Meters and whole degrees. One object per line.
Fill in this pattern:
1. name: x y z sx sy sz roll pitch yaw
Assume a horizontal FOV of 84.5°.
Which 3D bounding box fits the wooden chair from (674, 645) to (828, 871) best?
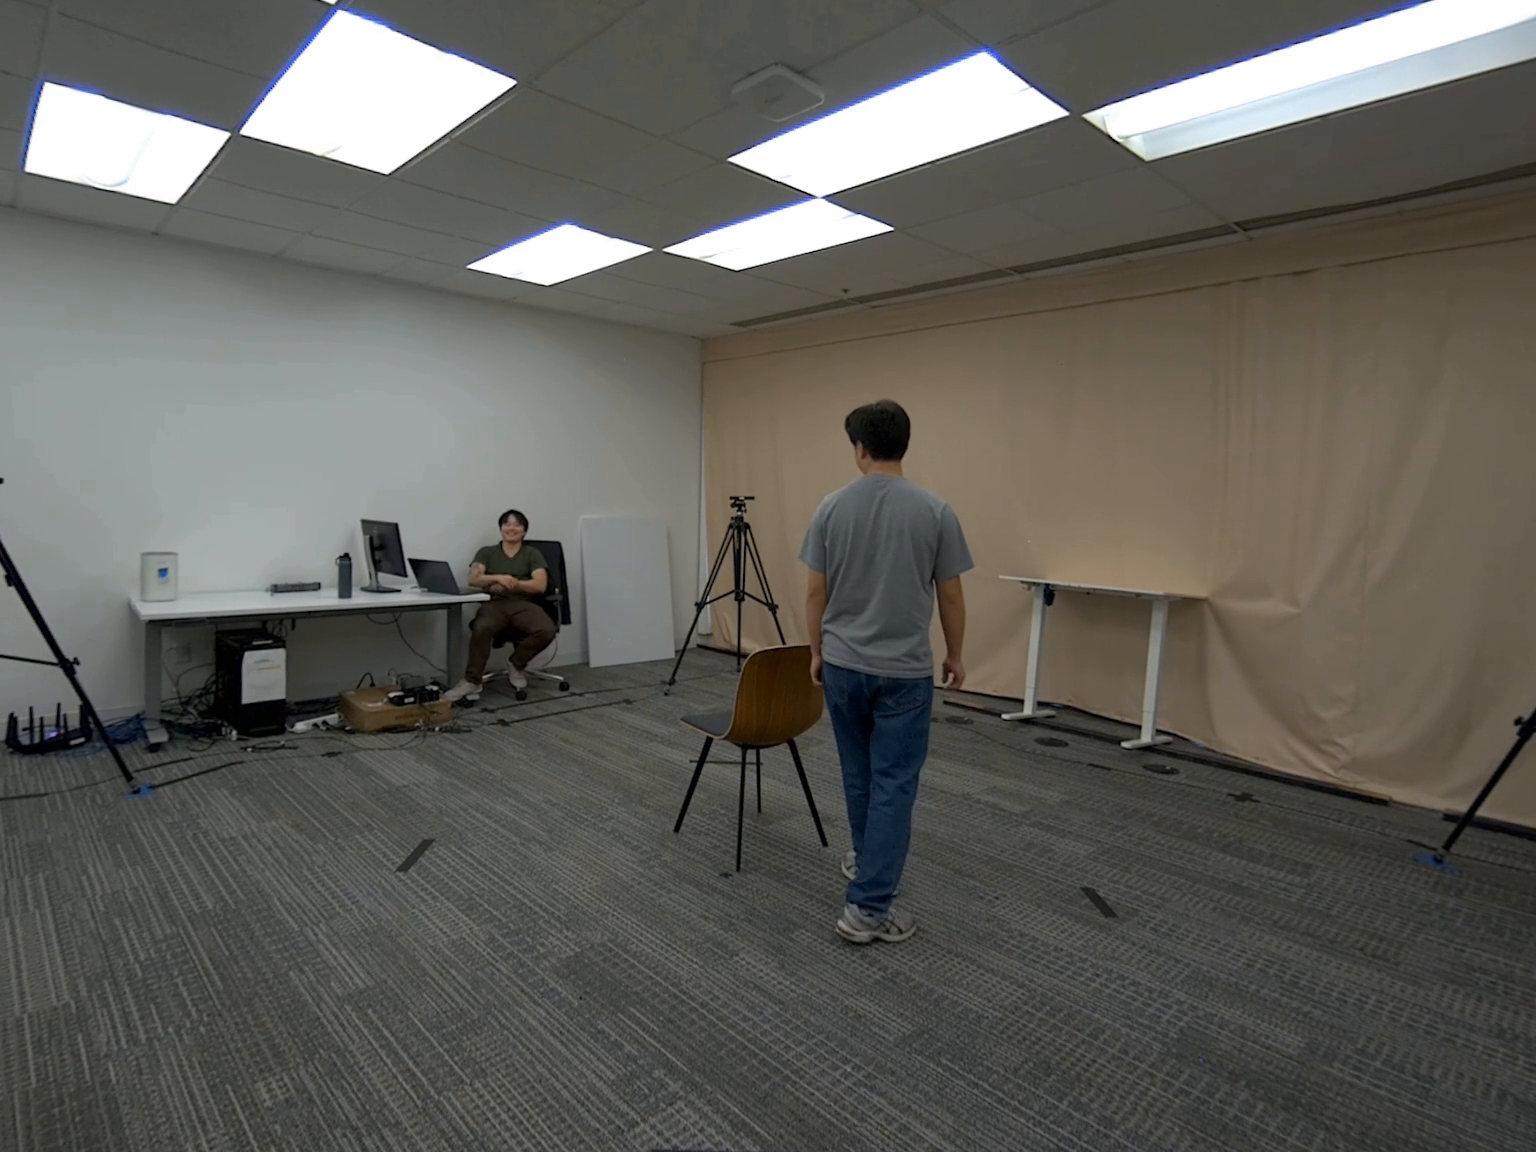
1. wooden chair: -0.077 0.652 3.419 0.467 0.873 0.537 -1 9 -37
